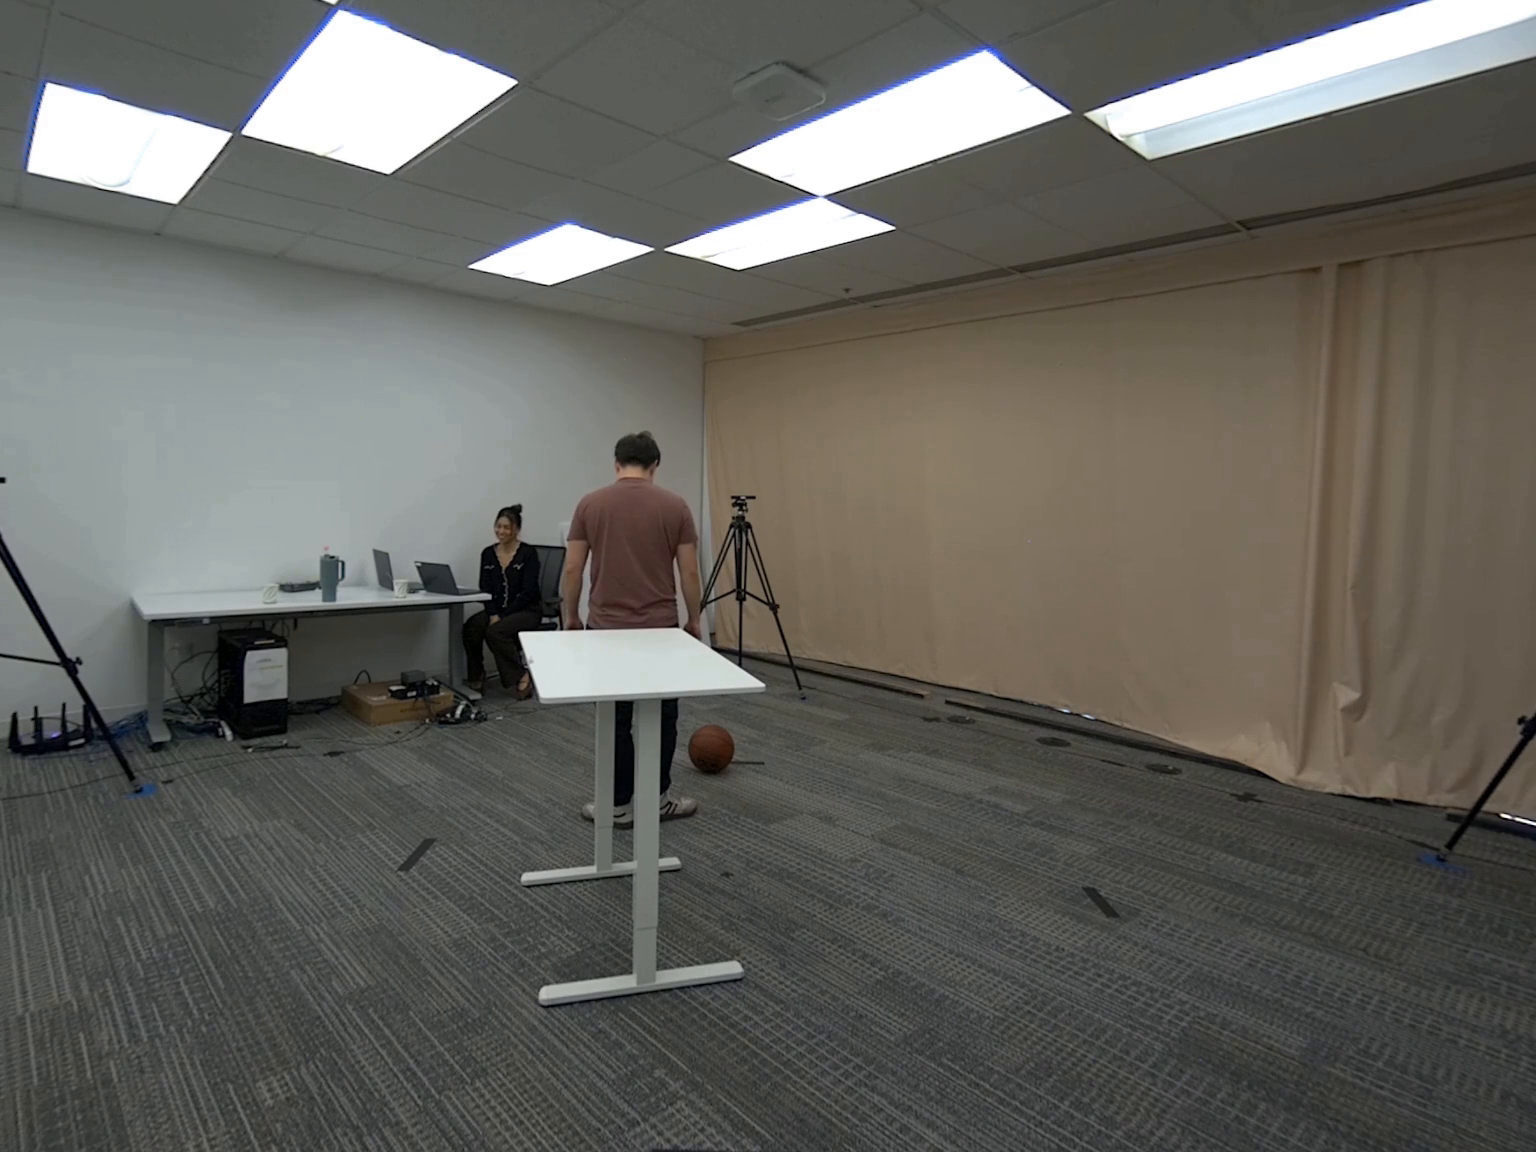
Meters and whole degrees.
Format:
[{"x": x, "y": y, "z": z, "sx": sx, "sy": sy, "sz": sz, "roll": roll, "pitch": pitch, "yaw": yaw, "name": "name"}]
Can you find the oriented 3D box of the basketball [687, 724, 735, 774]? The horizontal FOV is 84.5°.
[{"x": -0.299, "y": 0.873, "z": 4.287, "sx": 0.236, "sy": 0.235, "sz": 0.237, "roll": 1, "pitch": 4, "yaw": -1, "name": "basketball"}]
